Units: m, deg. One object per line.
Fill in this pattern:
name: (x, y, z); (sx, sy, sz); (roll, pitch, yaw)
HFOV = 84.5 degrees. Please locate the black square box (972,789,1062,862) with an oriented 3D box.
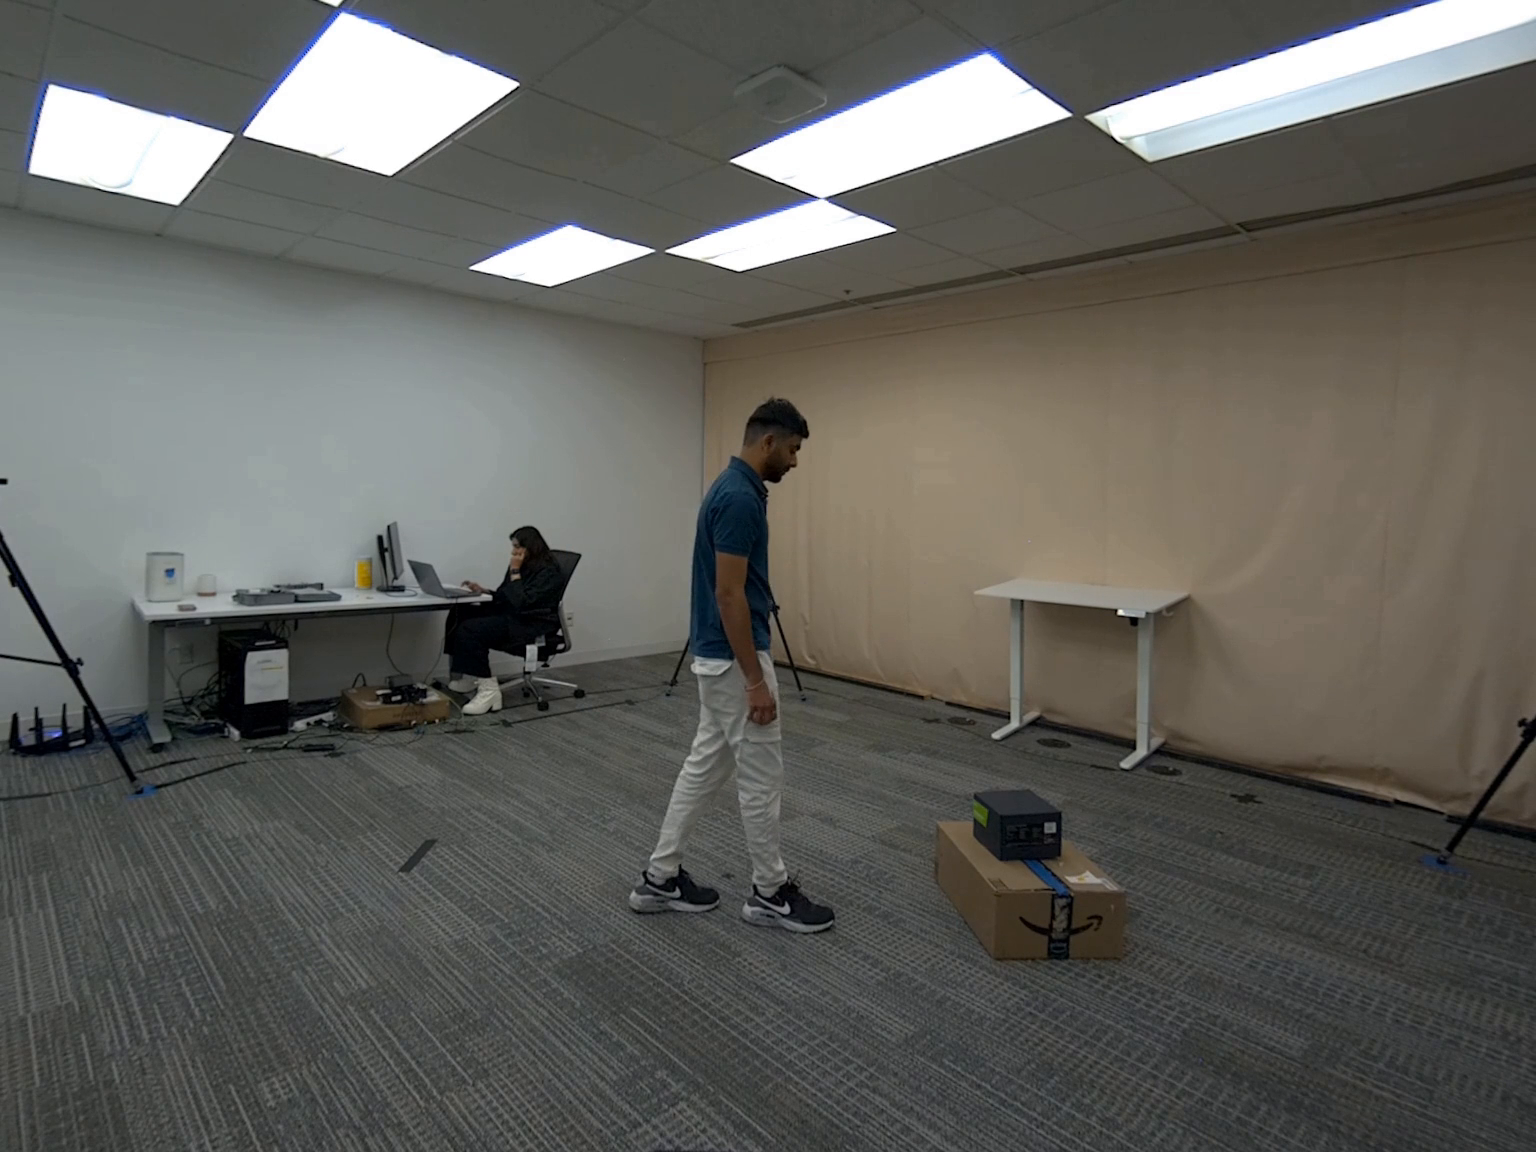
black square box: (0.845, 0.849, 2.902); (0.215, 0.155, 0.230); (-1, 4, -9)
